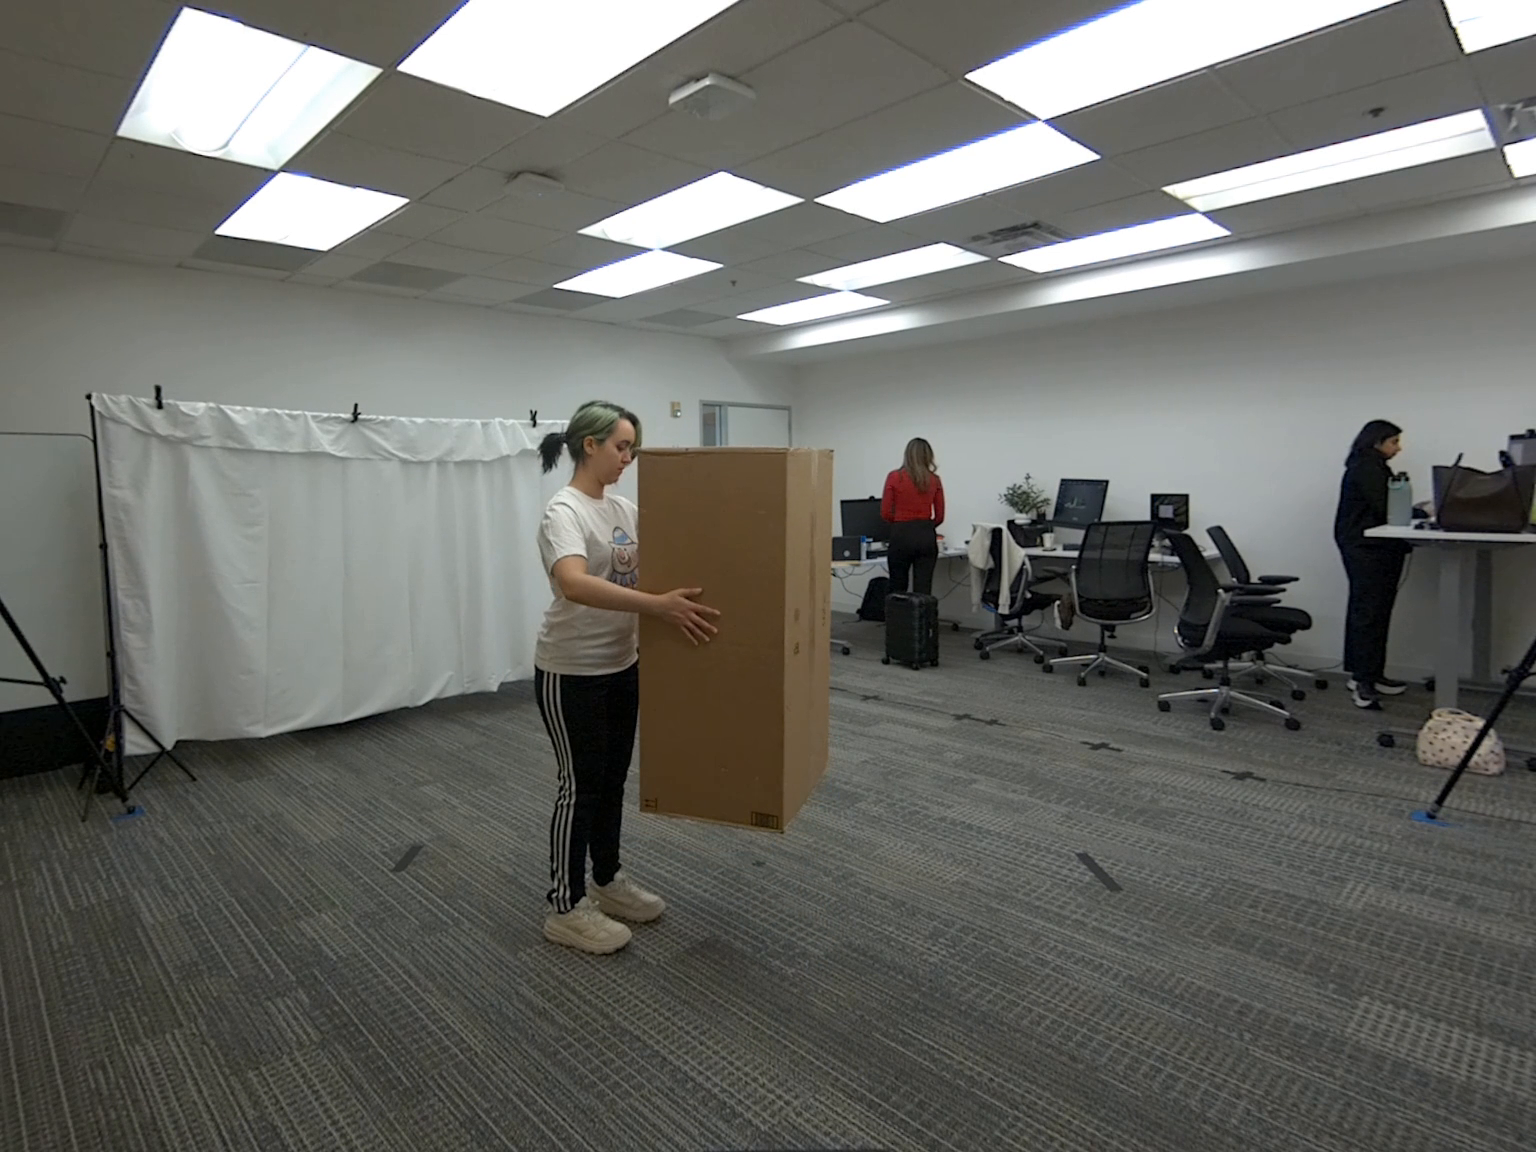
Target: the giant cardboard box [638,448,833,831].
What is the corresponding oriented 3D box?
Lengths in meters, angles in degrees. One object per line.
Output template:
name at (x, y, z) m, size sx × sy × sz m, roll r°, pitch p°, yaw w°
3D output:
giant cardboard box at (-0.078, 0.134, 2.550) m, size 0.434 × 1.021 × 0.570 m, roll 2°, pitch 6°, yaw 17°
